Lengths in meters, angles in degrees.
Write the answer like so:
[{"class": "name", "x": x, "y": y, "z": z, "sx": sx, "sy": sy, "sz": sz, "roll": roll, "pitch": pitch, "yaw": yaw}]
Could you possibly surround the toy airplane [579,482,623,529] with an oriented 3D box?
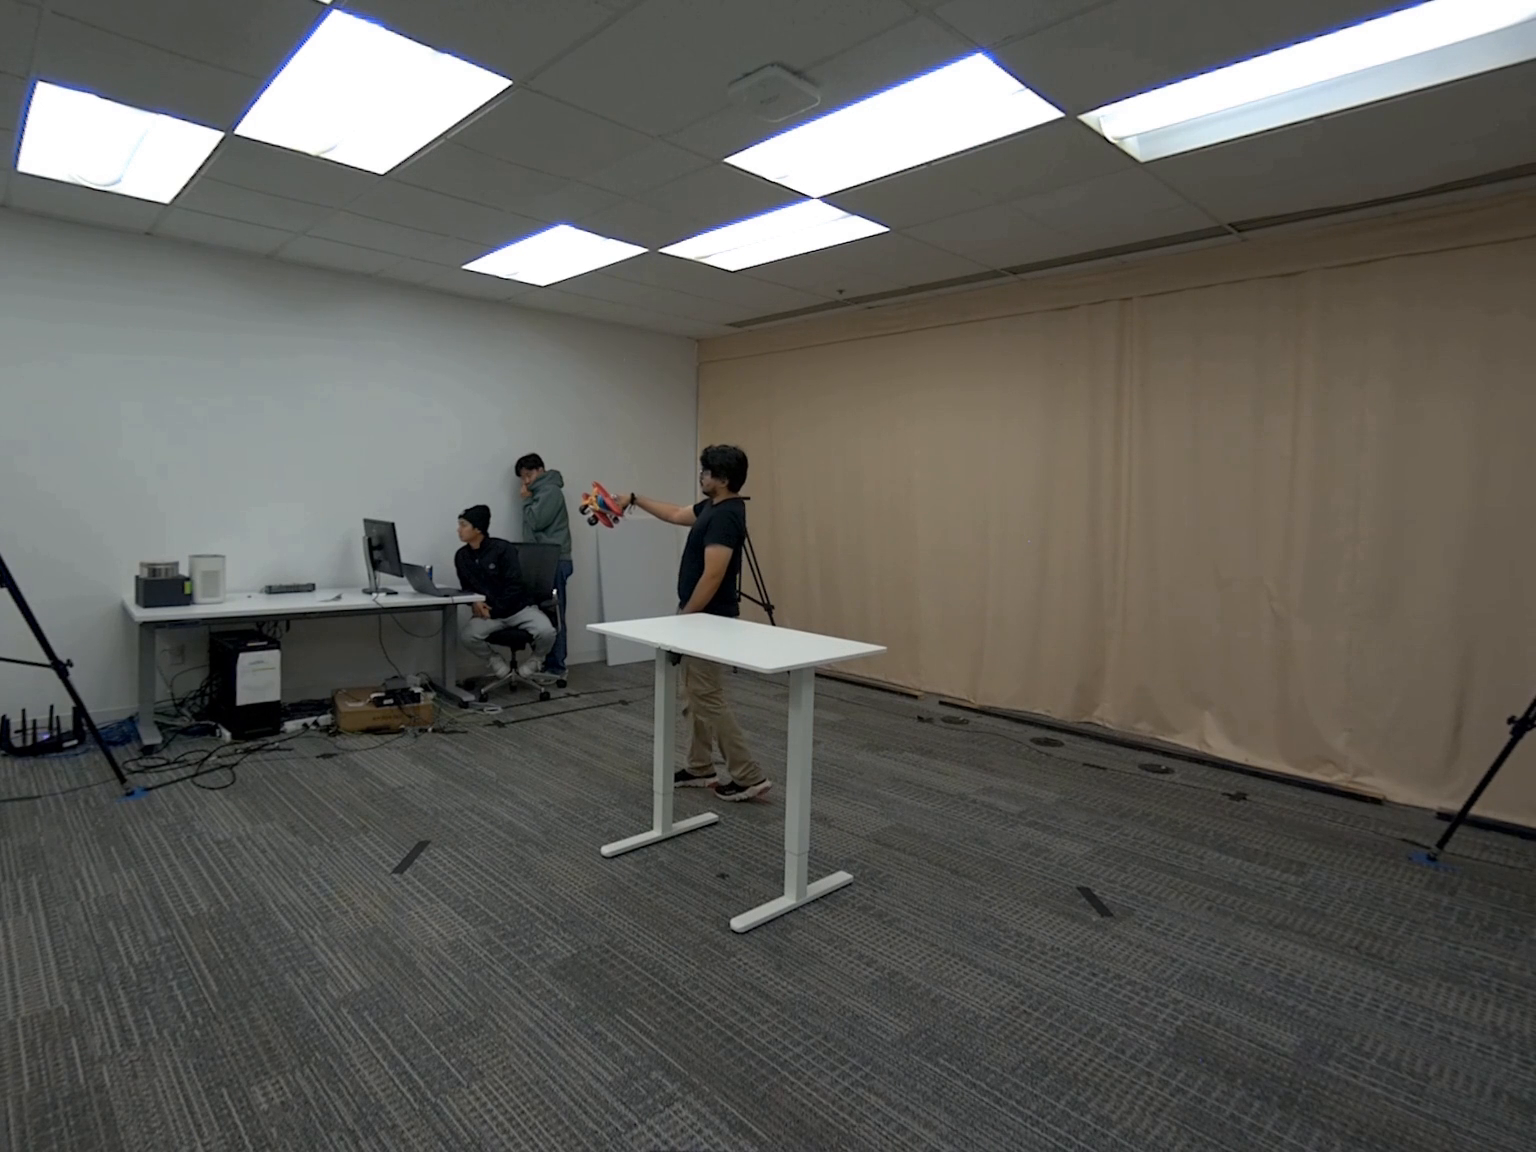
[{"class": "toy airplane", "x": -0.836, "y": -0.353, "z": 4.228, "sx": 0.252, "sy": 0.156, "sz": 0.259, "roll": 38, "pitch": 24, "yaw": 2}]
